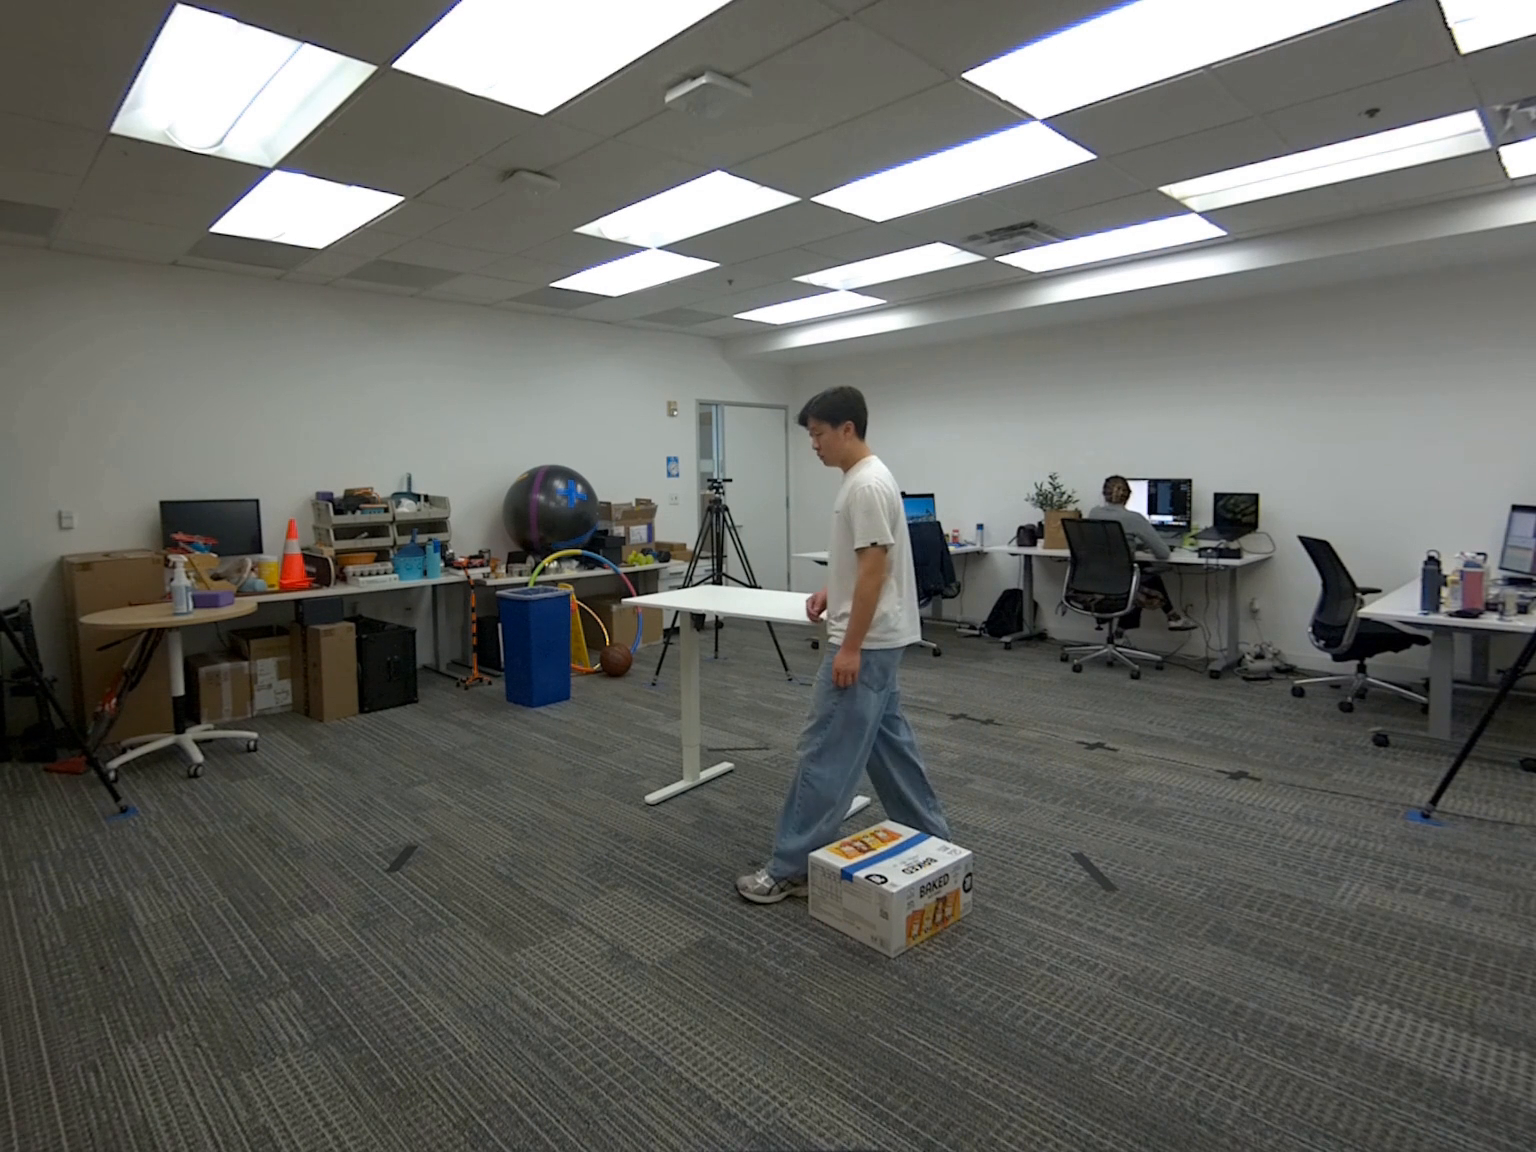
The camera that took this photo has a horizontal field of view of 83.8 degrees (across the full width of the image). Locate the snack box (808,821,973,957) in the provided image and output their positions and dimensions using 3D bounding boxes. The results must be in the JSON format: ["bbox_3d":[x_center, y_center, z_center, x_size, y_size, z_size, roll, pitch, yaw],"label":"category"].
[{"bbox_3d":[0.393,0.986,2.717,0.394,0.205,0.351,-6,8,-42],"label":"snack box"}]
